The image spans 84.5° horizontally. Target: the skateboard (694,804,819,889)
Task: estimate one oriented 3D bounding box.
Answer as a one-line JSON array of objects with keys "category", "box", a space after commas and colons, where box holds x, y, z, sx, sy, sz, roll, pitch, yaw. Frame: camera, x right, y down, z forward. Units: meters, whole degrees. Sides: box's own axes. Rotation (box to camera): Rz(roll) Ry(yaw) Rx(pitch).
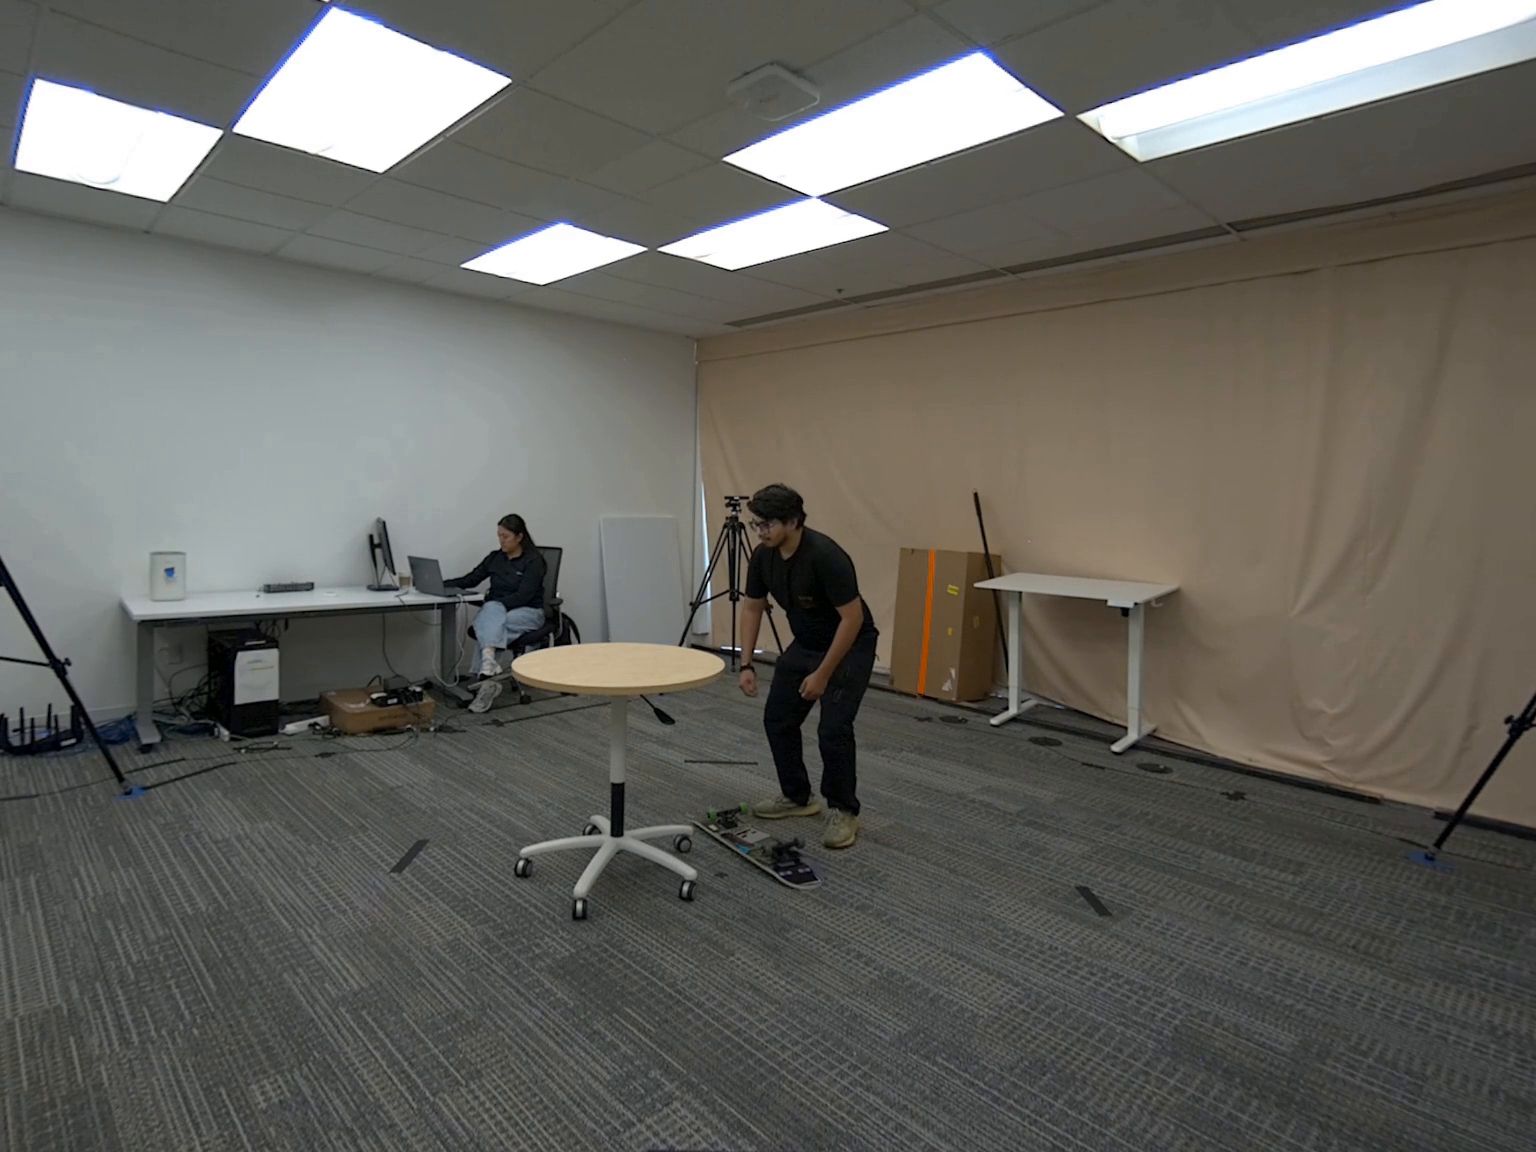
[{"category": "skateboard", "box": [-0.065, 1.035, 3.344, 0.189, 0.110, 0.804, -1, 5, -34]}]
